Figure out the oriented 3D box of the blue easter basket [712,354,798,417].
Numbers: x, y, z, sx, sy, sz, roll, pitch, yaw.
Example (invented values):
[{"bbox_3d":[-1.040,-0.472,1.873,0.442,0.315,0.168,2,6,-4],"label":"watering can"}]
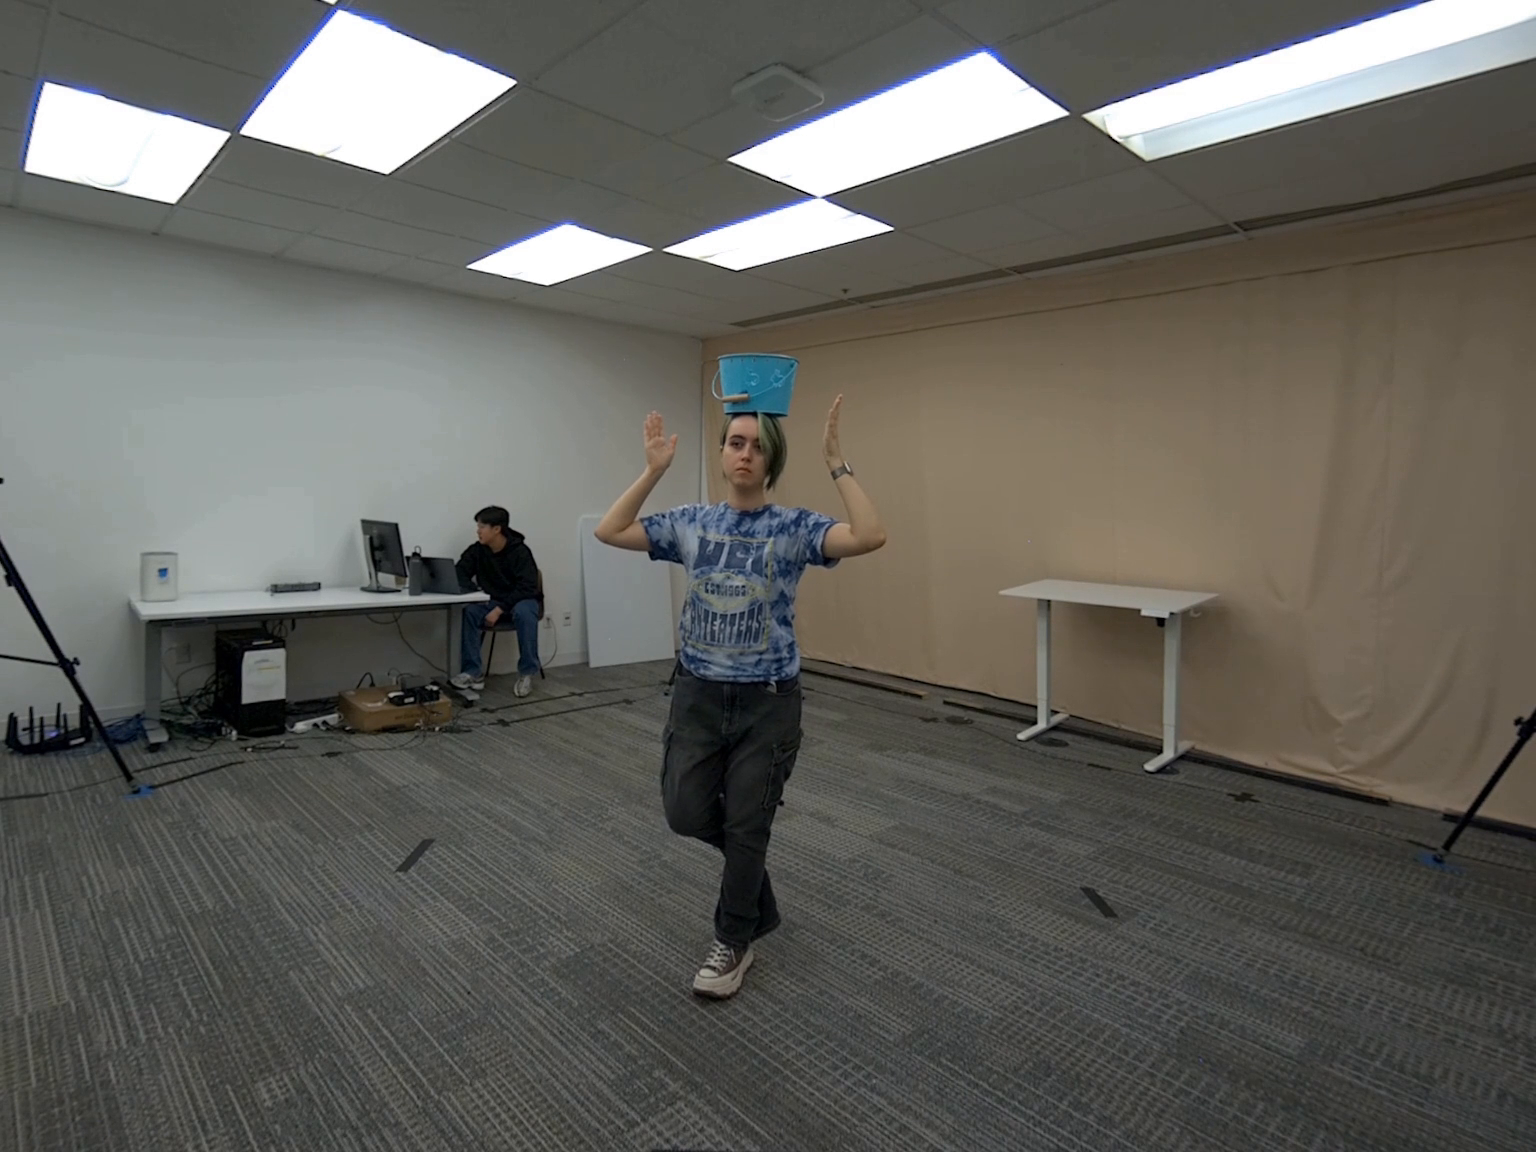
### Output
[{"bbox_3d":[-0.037,-0.528,2.357,0.243,0.155,0.245,2,6,-2],"label":"blue easter basket"}]
